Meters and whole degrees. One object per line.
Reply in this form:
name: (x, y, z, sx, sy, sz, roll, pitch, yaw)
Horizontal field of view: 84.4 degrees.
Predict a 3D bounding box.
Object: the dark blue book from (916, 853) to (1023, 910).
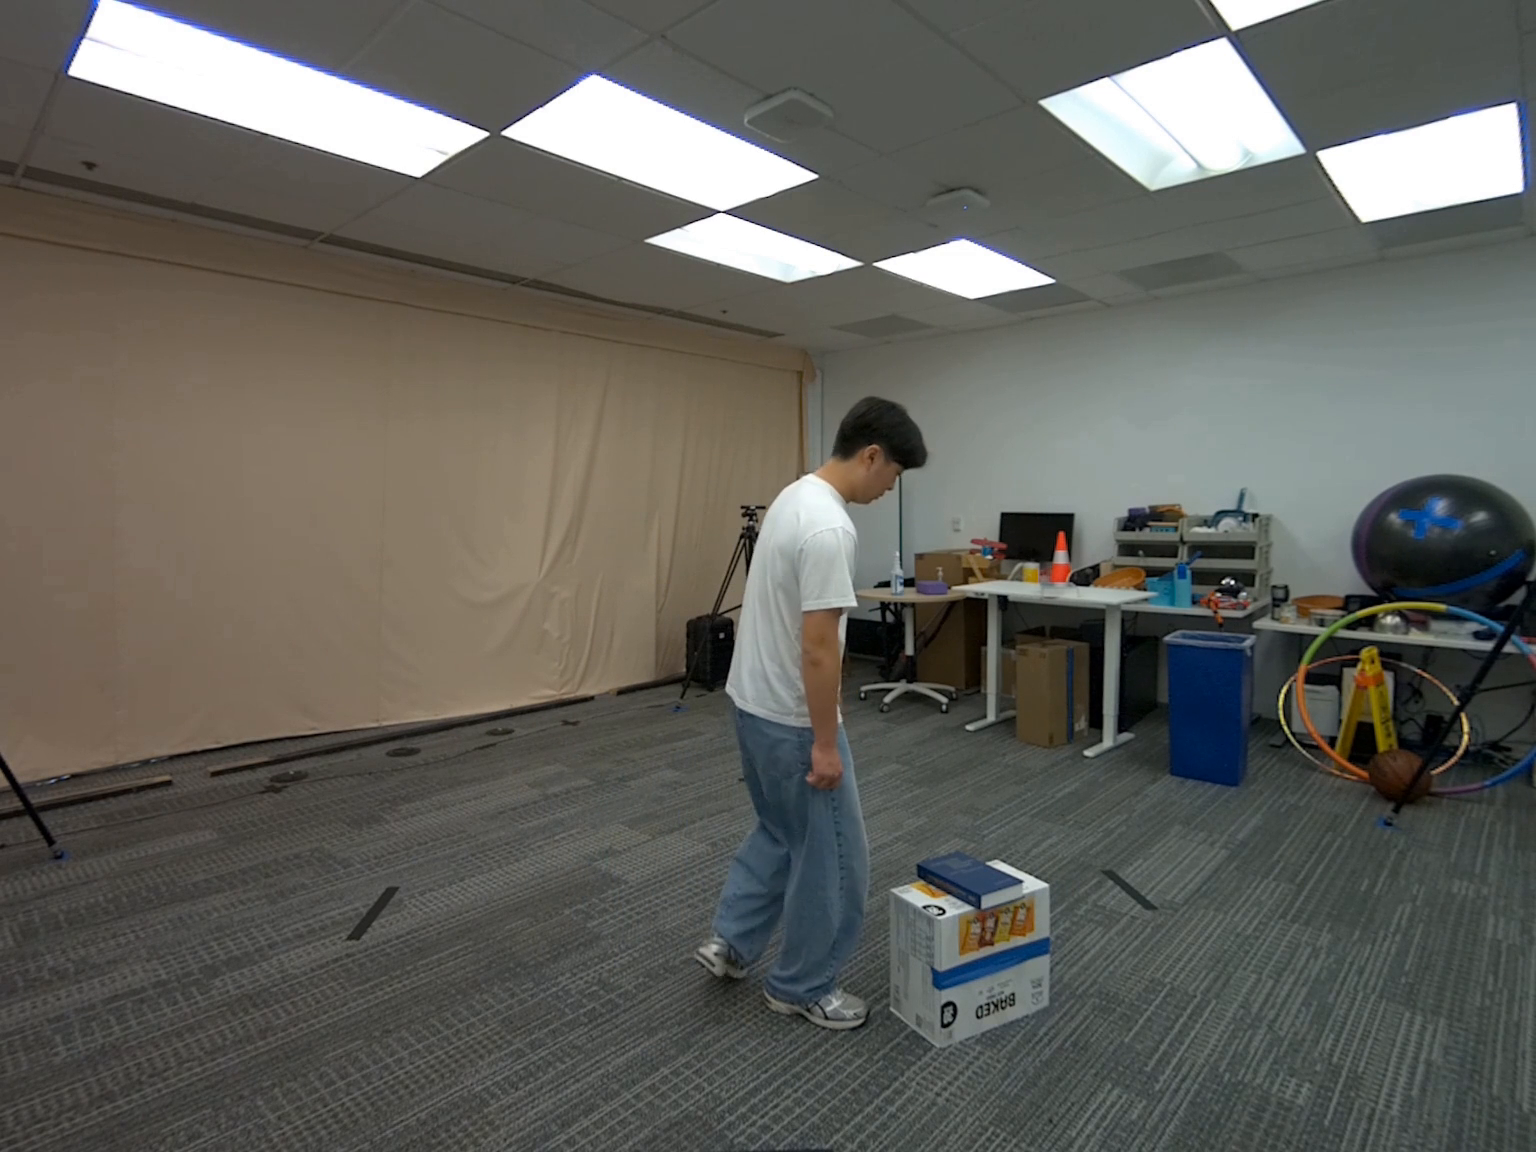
dark blue book: (0.568, 0.841, 2.311, 0.159, 0.045, 0.252, -3, 4, -30)
